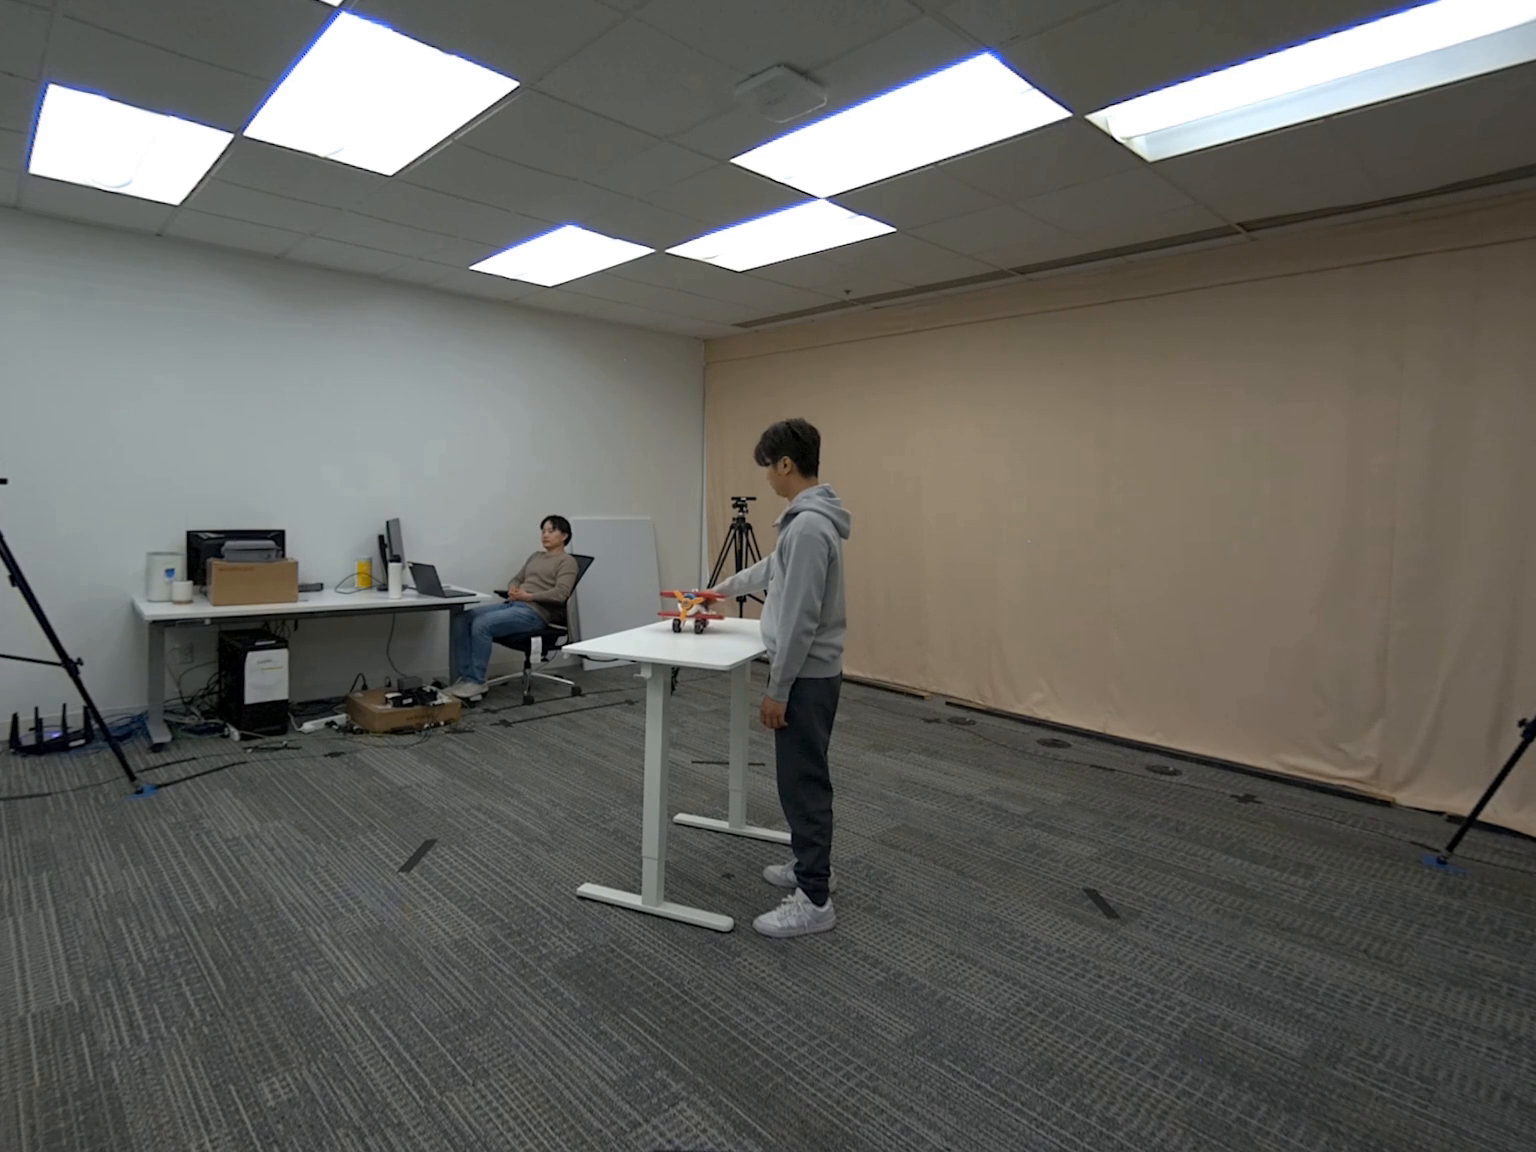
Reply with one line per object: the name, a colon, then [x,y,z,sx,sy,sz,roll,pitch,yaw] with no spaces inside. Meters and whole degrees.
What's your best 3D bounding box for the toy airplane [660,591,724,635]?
toy airplane: [-0.312,0.133,3.246,0.248,0.156,0.263,0,4,-17]
